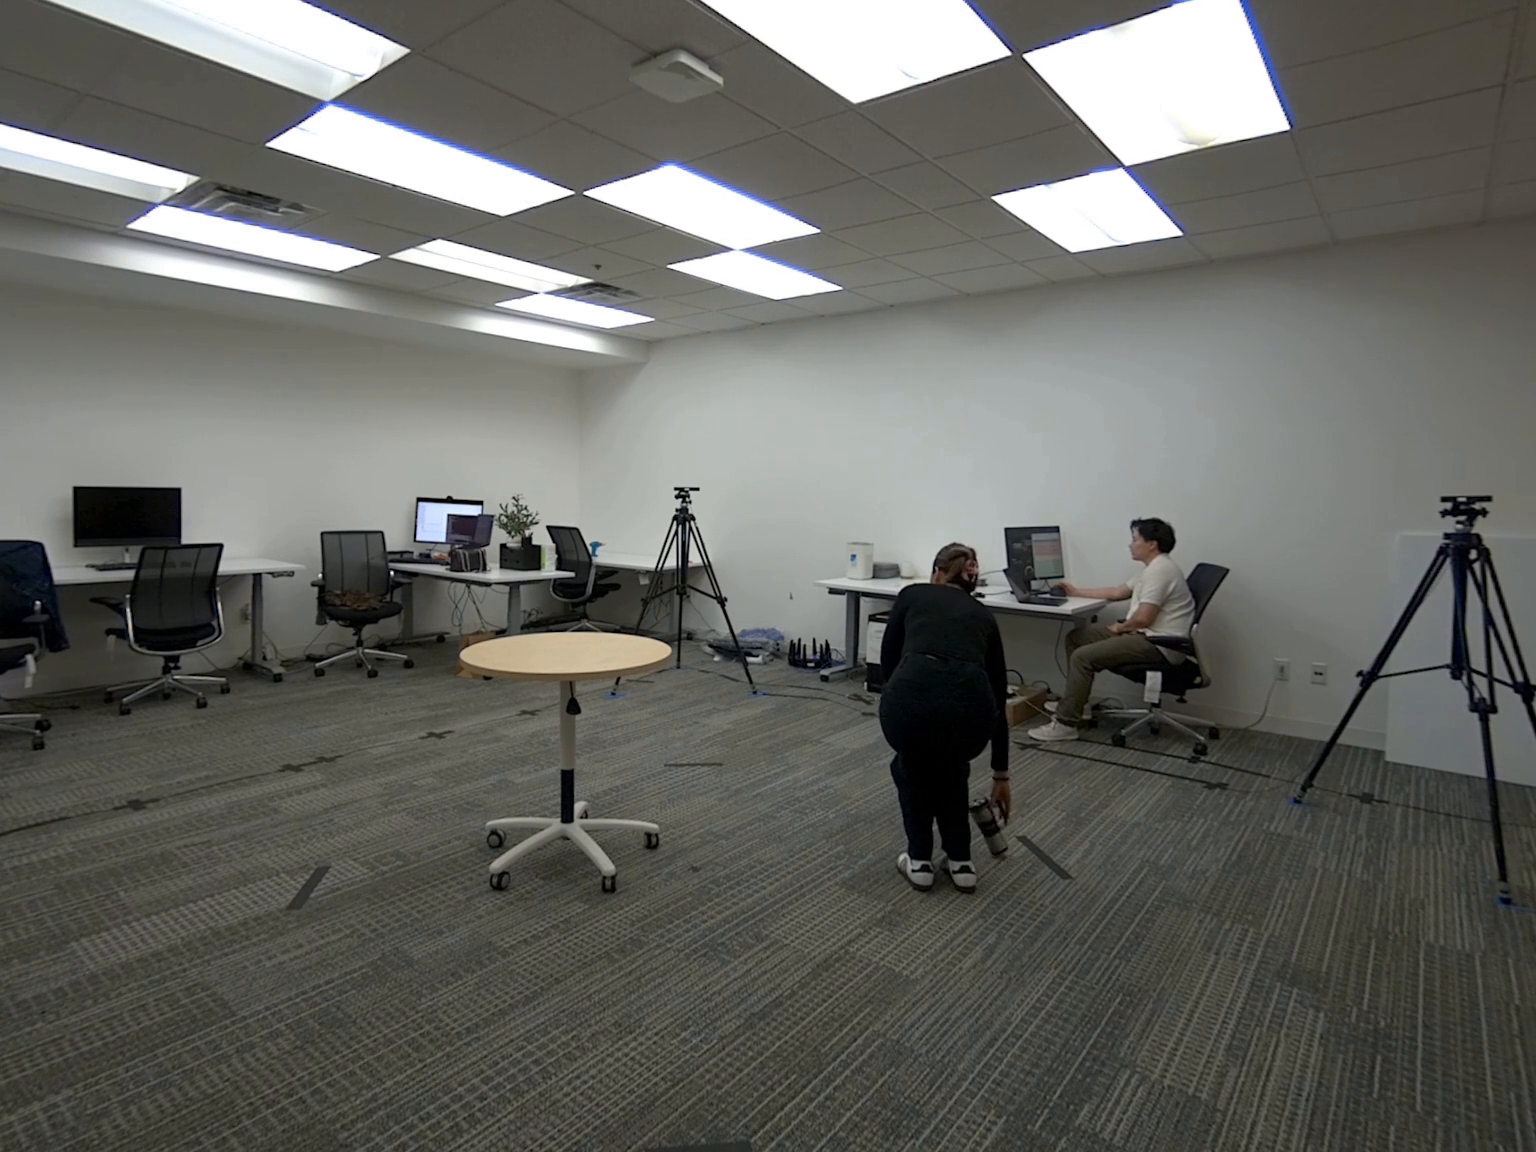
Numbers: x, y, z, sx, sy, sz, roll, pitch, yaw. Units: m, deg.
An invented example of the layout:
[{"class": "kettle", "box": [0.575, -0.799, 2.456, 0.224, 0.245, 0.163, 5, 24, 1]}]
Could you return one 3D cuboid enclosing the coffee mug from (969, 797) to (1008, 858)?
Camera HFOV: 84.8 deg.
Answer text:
[{"class": "coffee mug", "box": [0.868, 0.950, 3.263, 0.123, 0.205, 0.086, -30, -9, 30]}]
